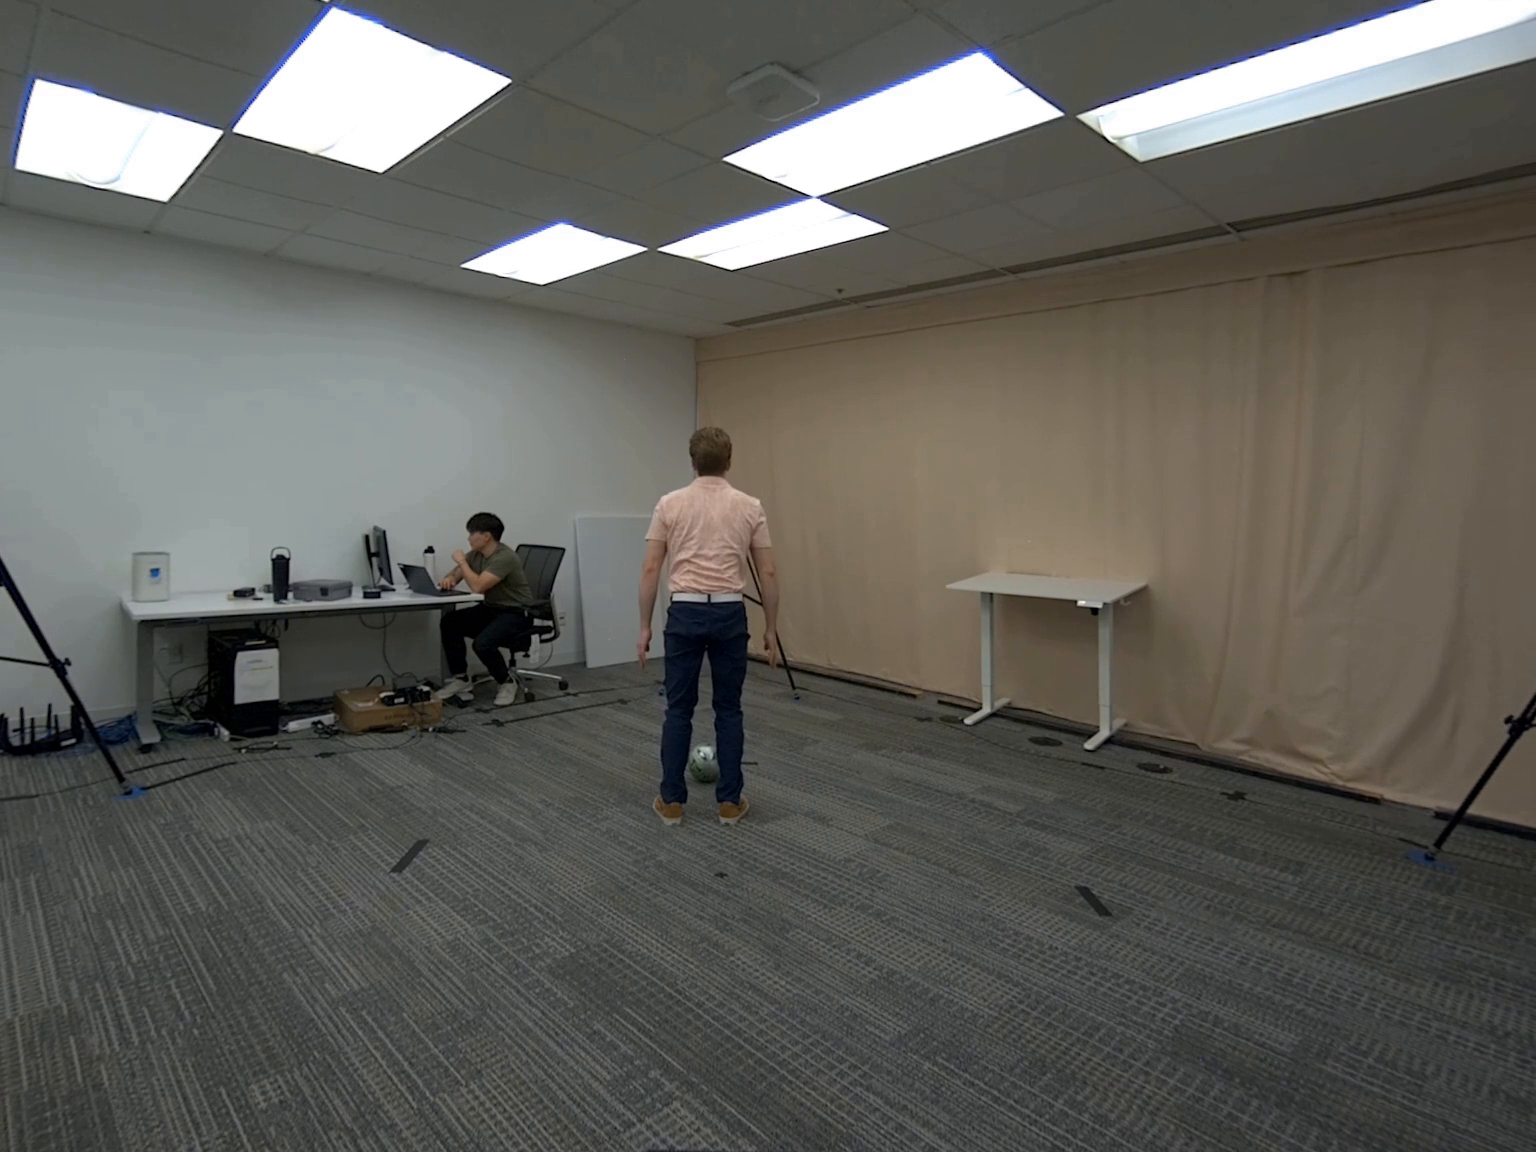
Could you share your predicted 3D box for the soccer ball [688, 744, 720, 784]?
[{"bbox_3d":[-0.311,0.916,4.148,0.187,0.187,0.188,1,4,-1],"label":"soccer ball"}]
